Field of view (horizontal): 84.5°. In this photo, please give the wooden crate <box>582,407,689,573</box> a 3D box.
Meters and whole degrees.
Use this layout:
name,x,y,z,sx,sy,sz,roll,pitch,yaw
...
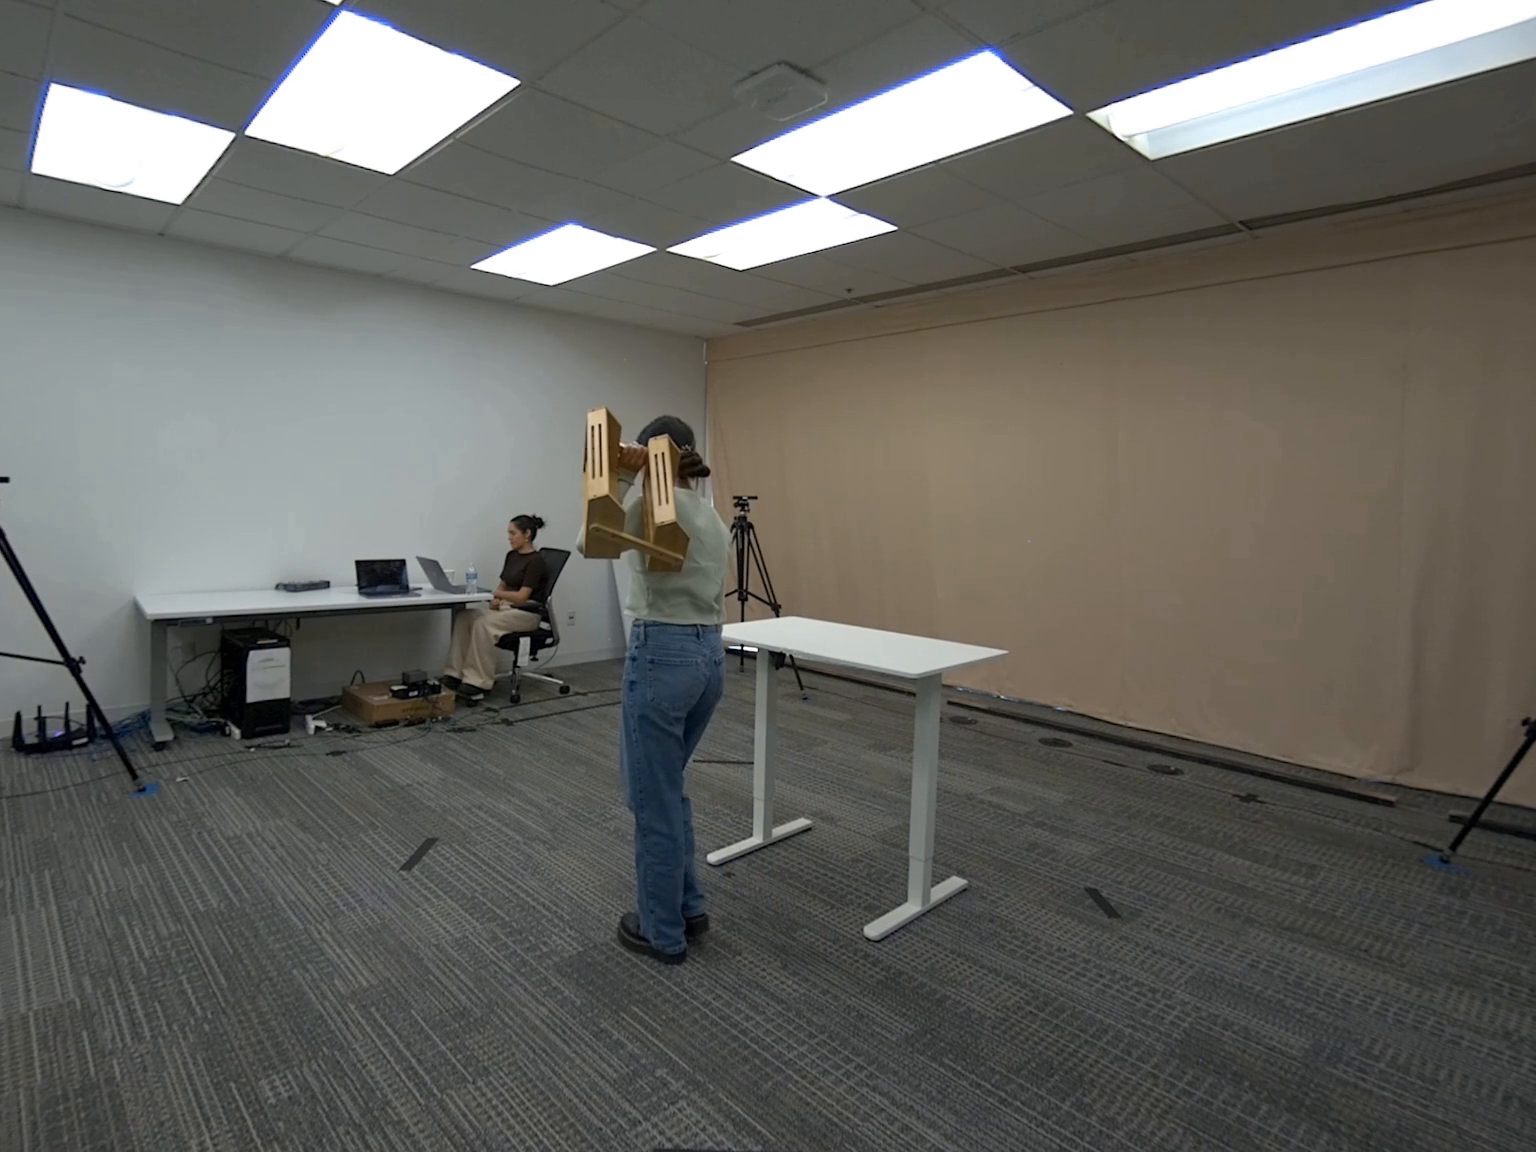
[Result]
name,x,y,z,sx,sy,sz,roll,pitch,yaw
wooden crate,-0.349,-0.222,2.173,0.270,0.332,0.298,4,-37,-15
